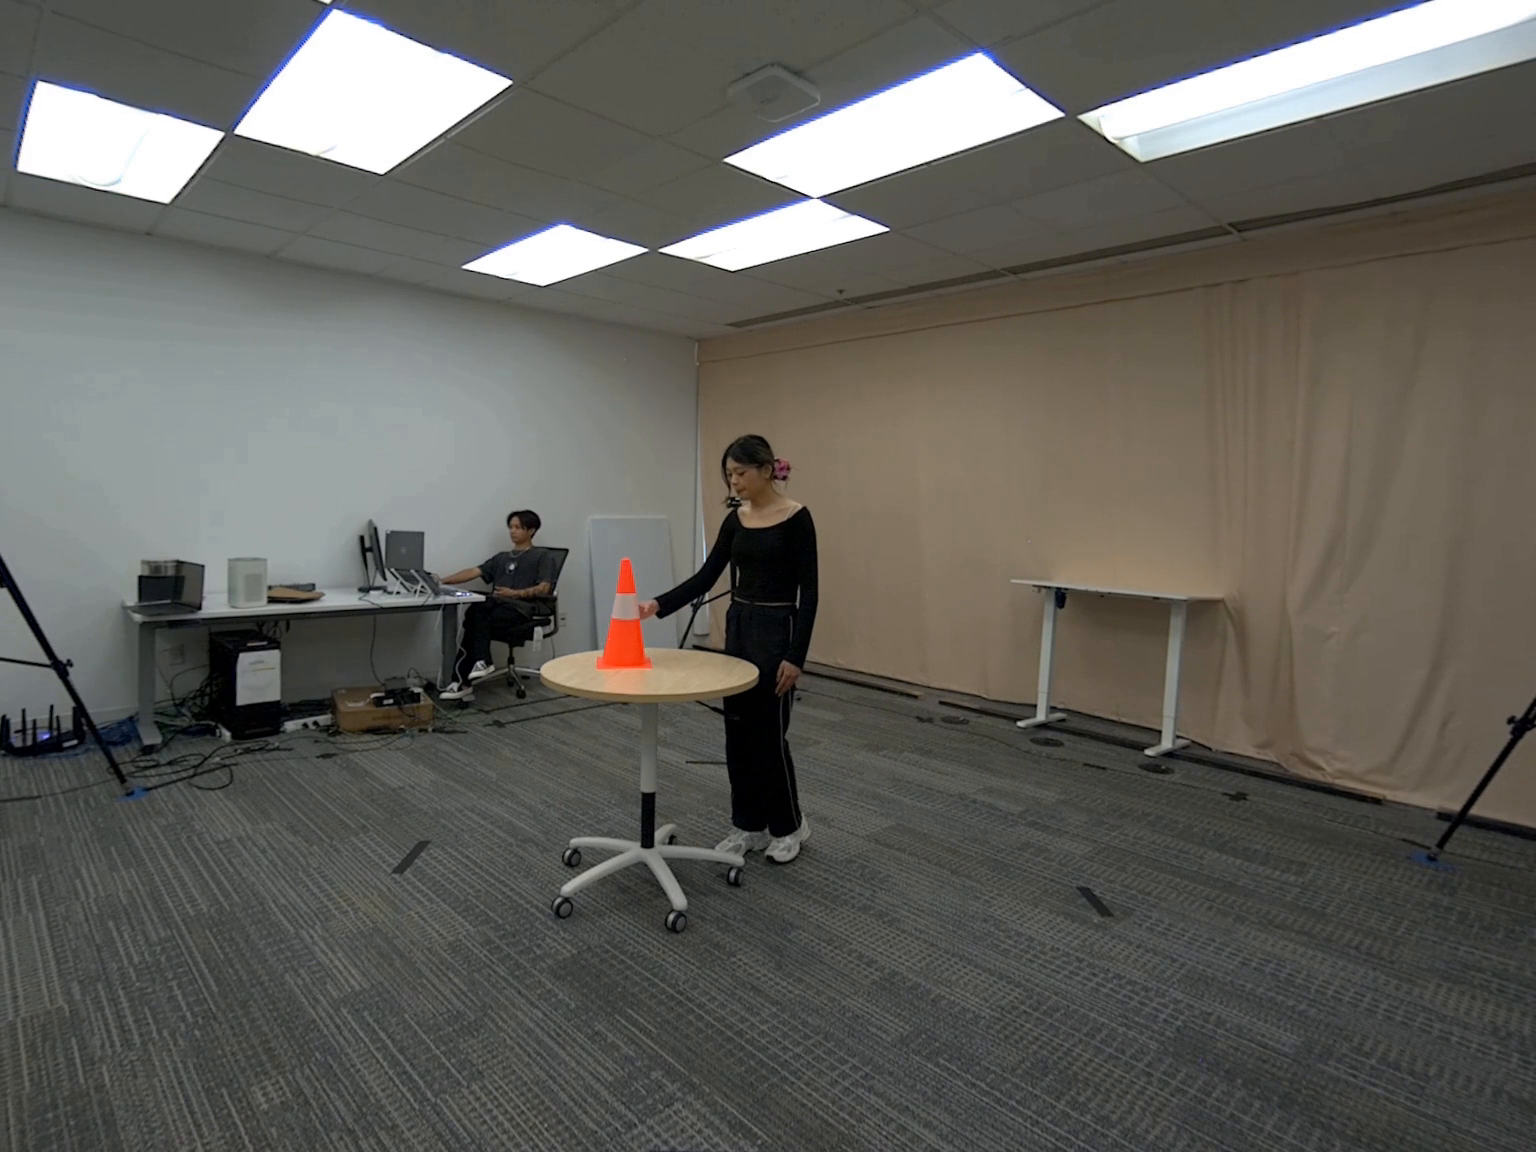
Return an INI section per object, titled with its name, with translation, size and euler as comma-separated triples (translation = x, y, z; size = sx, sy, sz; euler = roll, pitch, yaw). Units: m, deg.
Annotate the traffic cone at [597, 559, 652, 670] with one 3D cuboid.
[traffic cone]
translation = -0.523, 0.130, 3.038
size = 0.201, 0.382, 0.208
euler = 0, 5, -16
